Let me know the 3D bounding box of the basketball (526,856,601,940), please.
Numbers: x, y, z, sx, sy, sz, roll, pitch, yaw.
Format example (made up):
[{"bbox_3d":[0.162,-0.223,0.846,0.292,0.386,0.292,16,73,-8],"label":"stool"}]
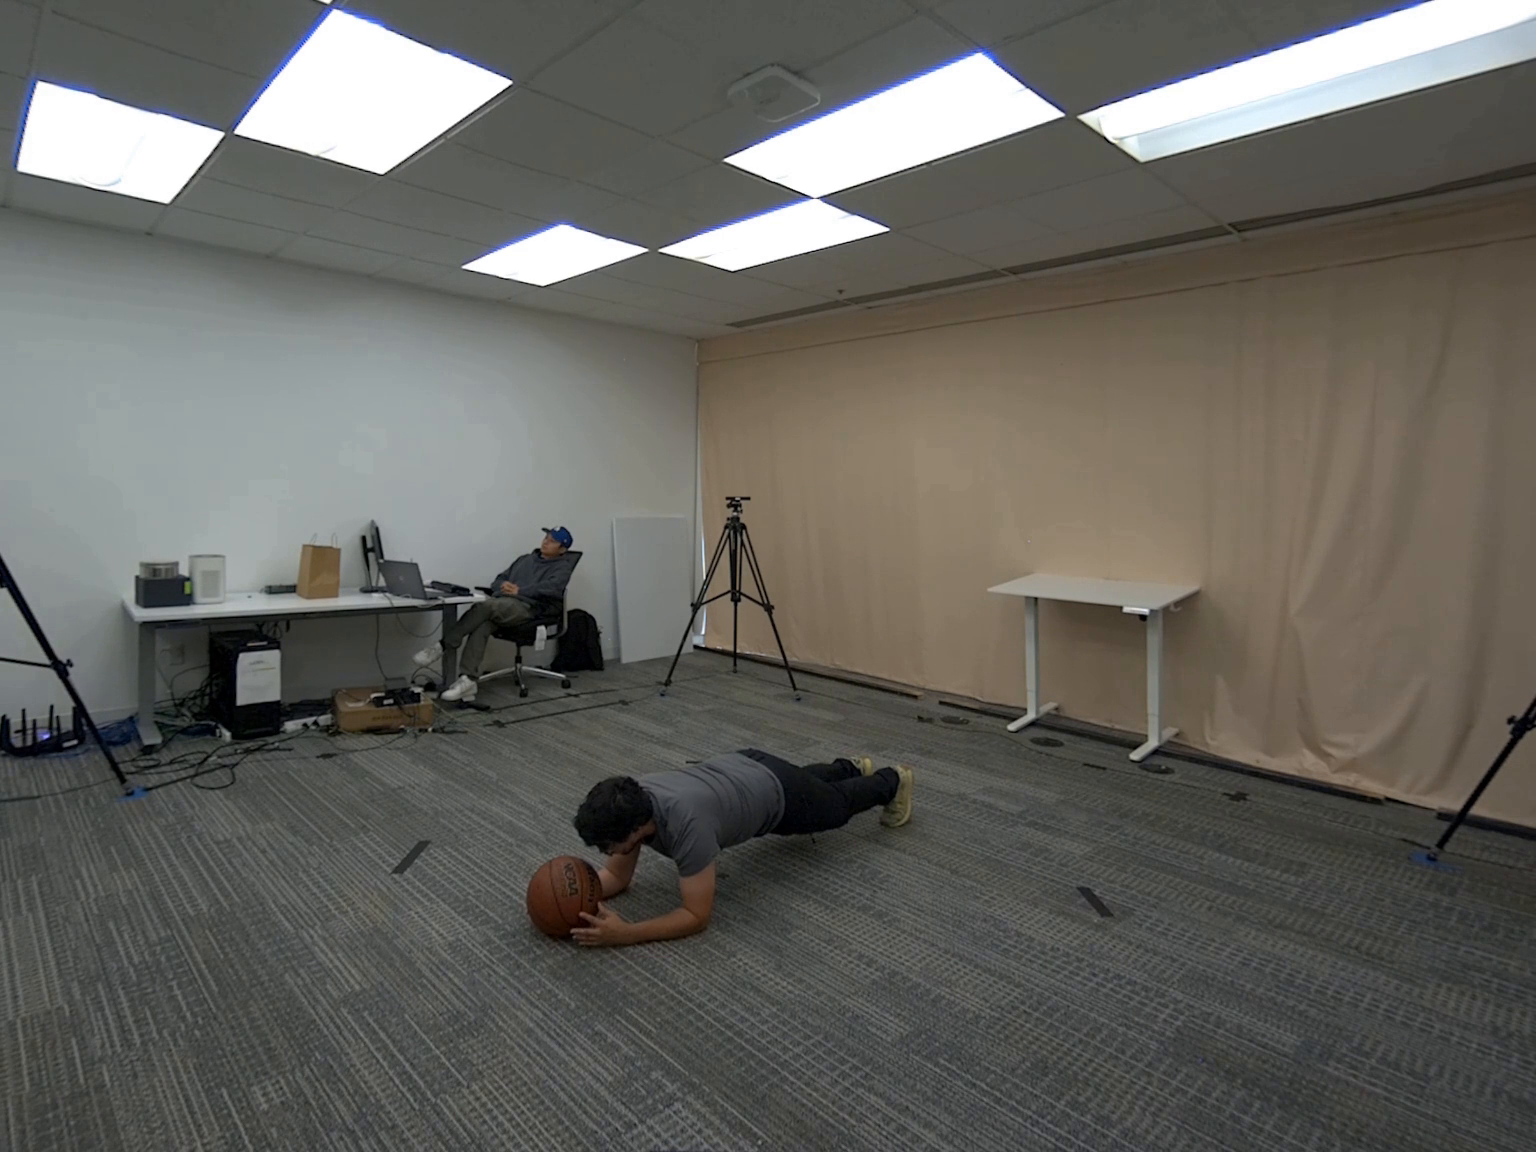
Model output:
[{"bbox_3d":[-0.645,1.010,2.679,0.236,0.235,0.237,1,4,-1],"label":"basketball"}]
